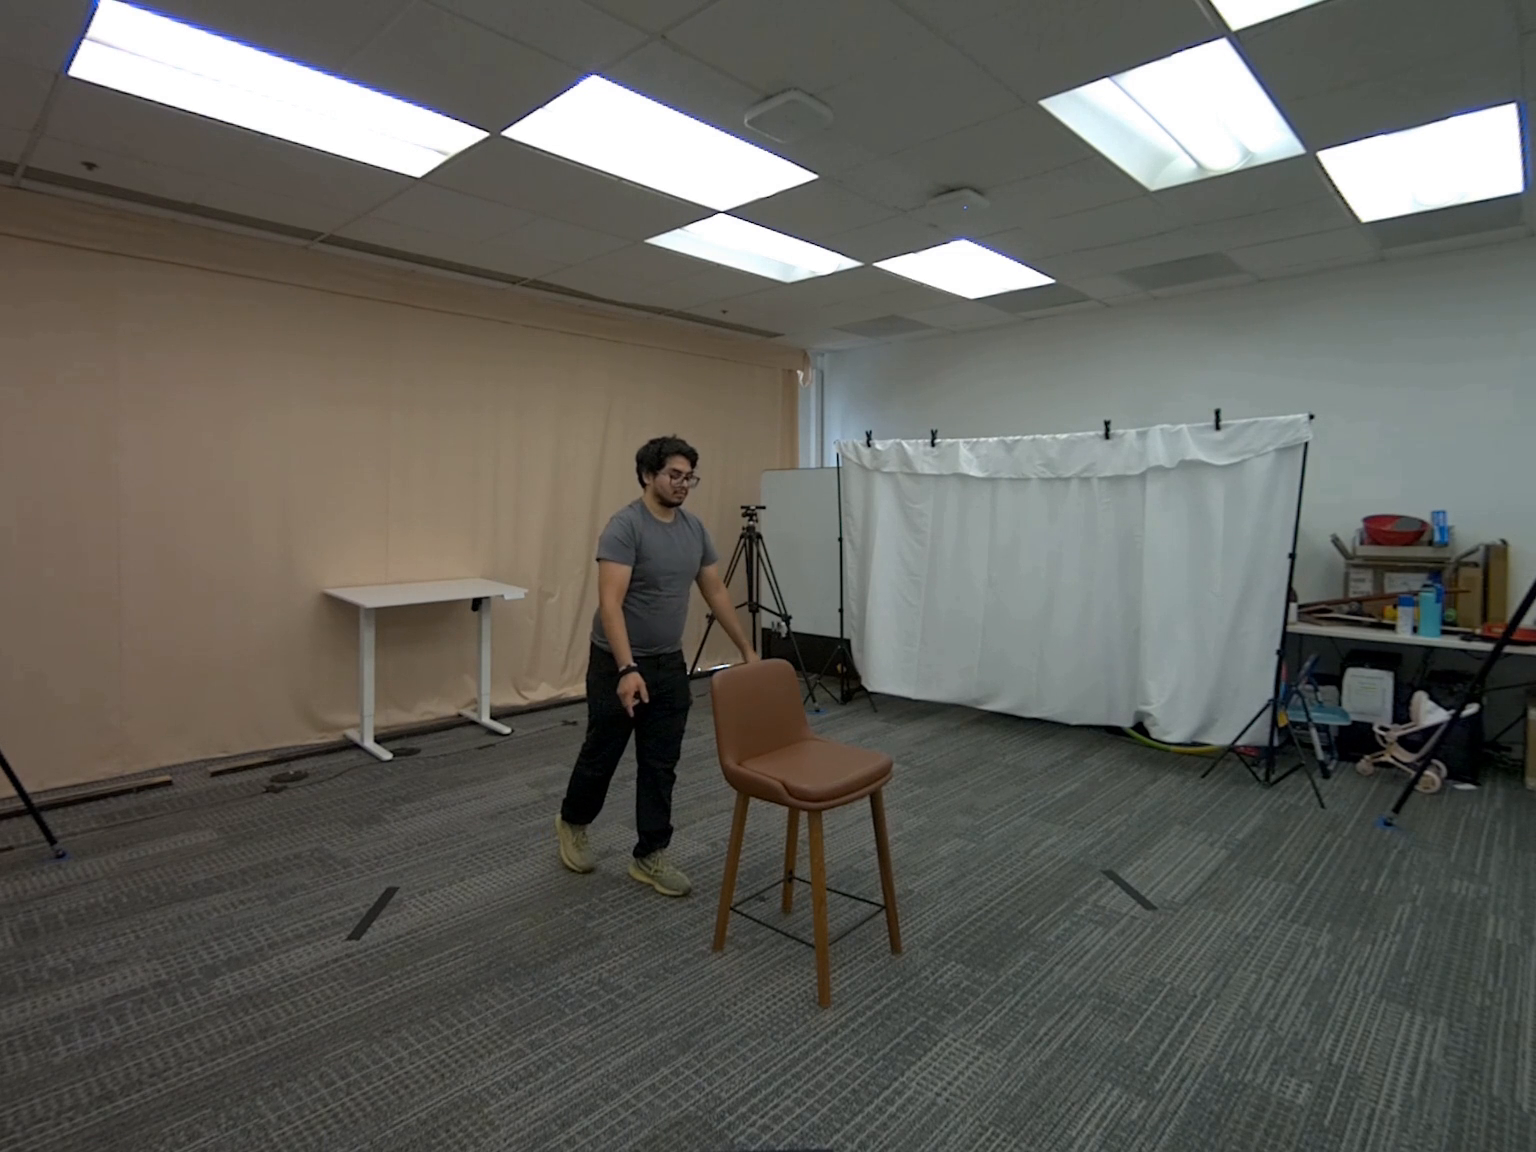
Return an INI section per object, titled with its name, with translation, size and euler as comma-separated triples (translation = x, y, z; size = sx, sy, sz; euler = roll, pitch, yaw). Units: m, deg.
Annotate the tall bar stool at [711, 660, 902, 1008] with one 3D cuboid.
[tall bar stool]
translation = 0.115, 0.739, 2.609
size = 0.483, 0.889, 0.442
euler = 0, 3, 42
